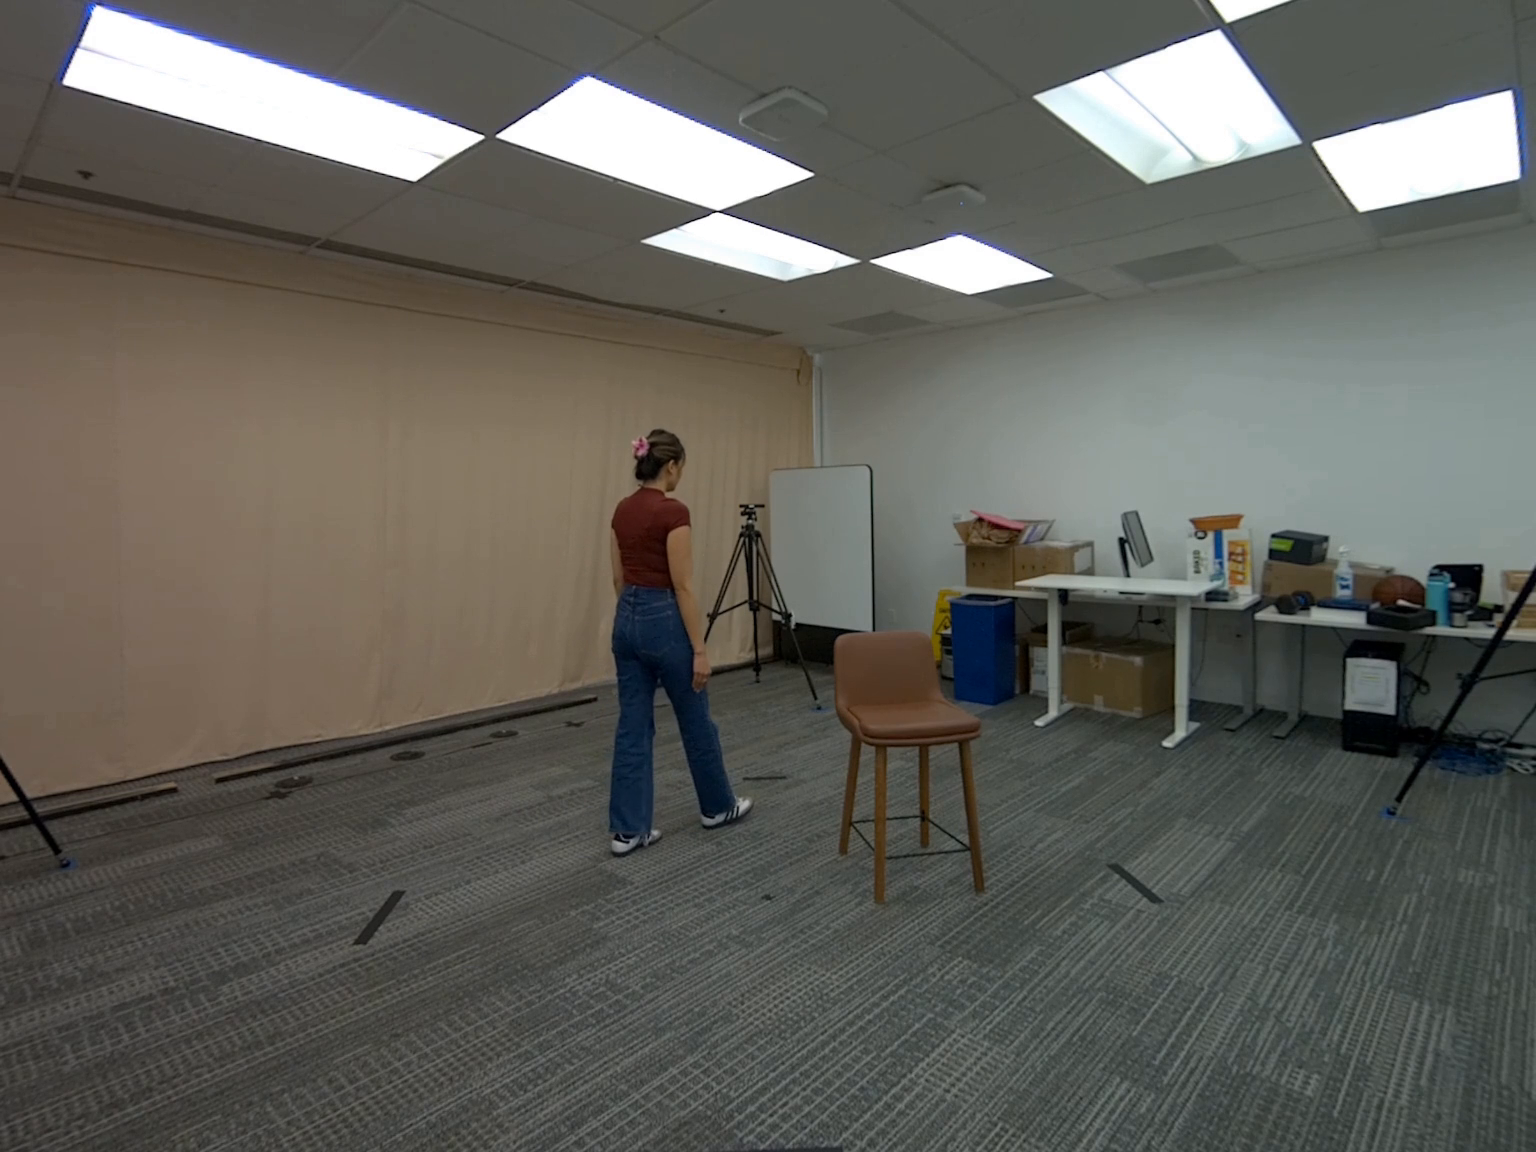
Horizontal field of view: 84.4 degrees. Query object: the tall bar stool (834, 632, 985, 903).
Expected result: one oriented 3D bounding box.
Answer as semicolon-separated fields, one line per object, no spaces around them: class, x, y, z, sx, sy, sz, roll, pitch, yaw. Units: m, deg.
tall bar stool;0.520;0.683;3.156;0.450;0.889;0.475;-1;2;-14
